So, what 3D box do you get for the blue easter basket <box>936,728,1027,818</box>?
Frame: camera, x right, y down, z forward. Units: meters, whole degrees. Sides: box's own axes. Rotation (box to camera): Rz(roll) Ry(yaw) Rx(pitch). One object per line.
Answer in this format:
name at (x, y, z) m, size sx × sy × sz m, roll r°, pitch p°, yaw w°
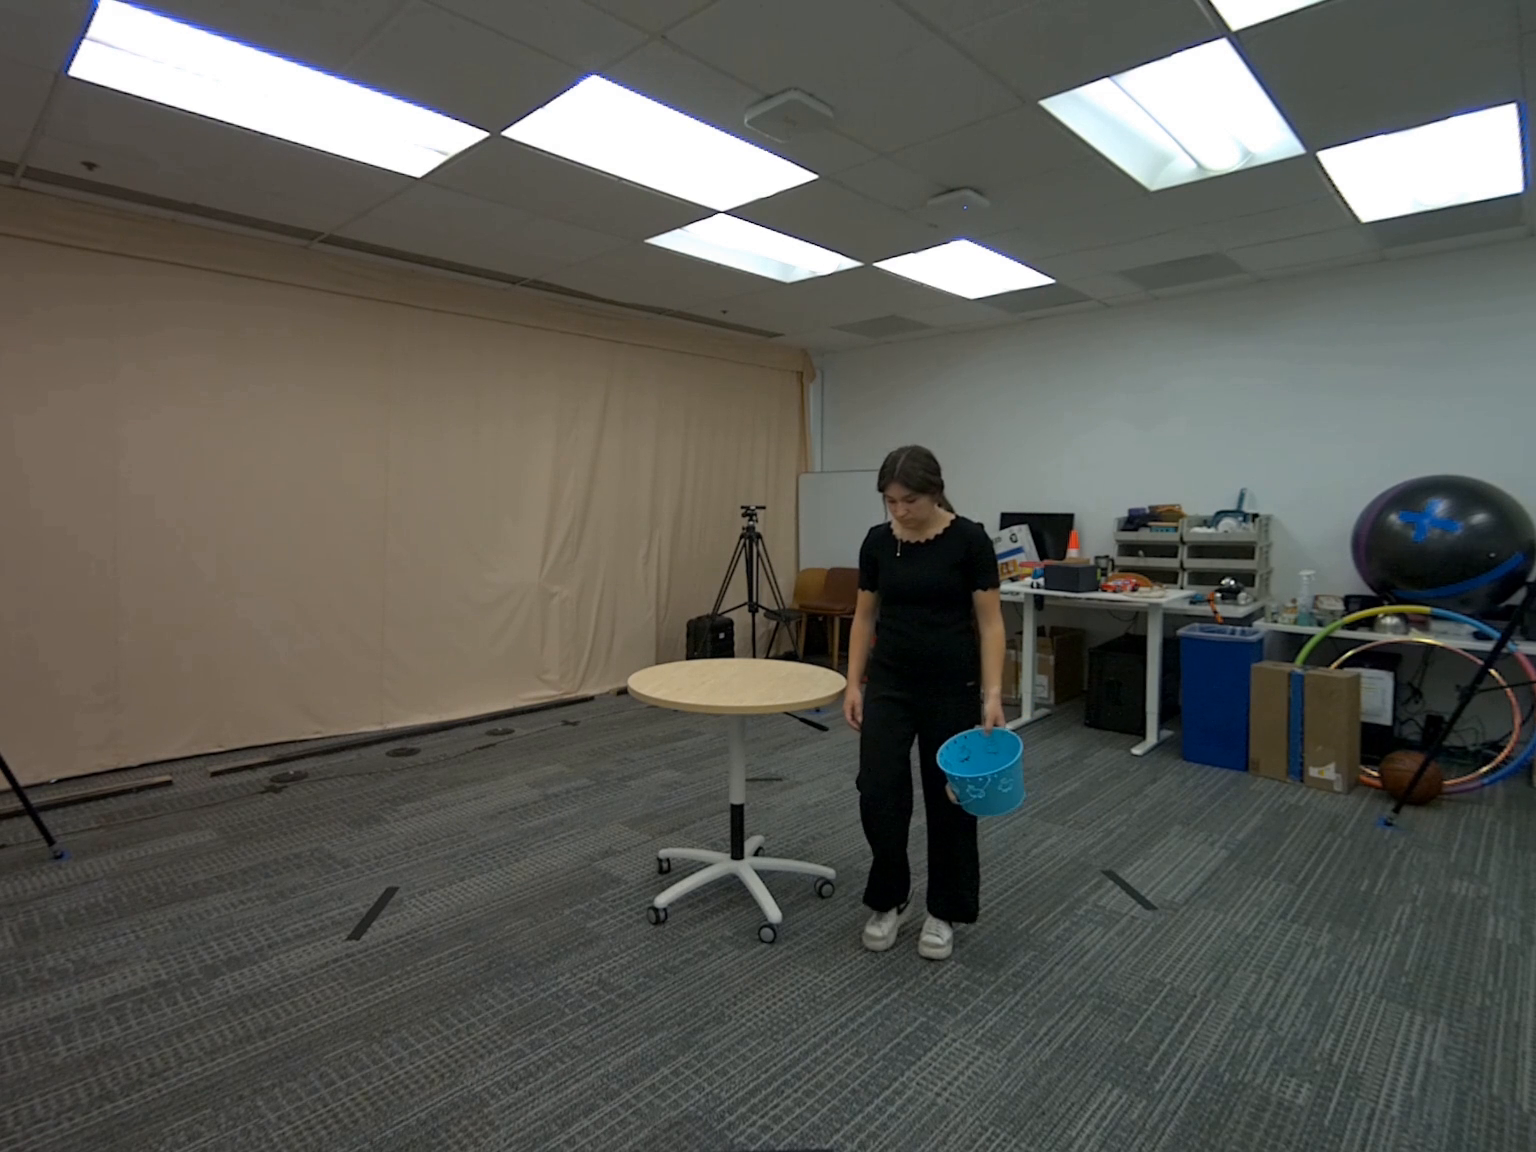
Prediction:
blue easter basket at (0.606, 0.550, 2.361) m, size 0.244 × 0.153 × 0.246 m, roll -18°, pitch 17°, yaw 4°
